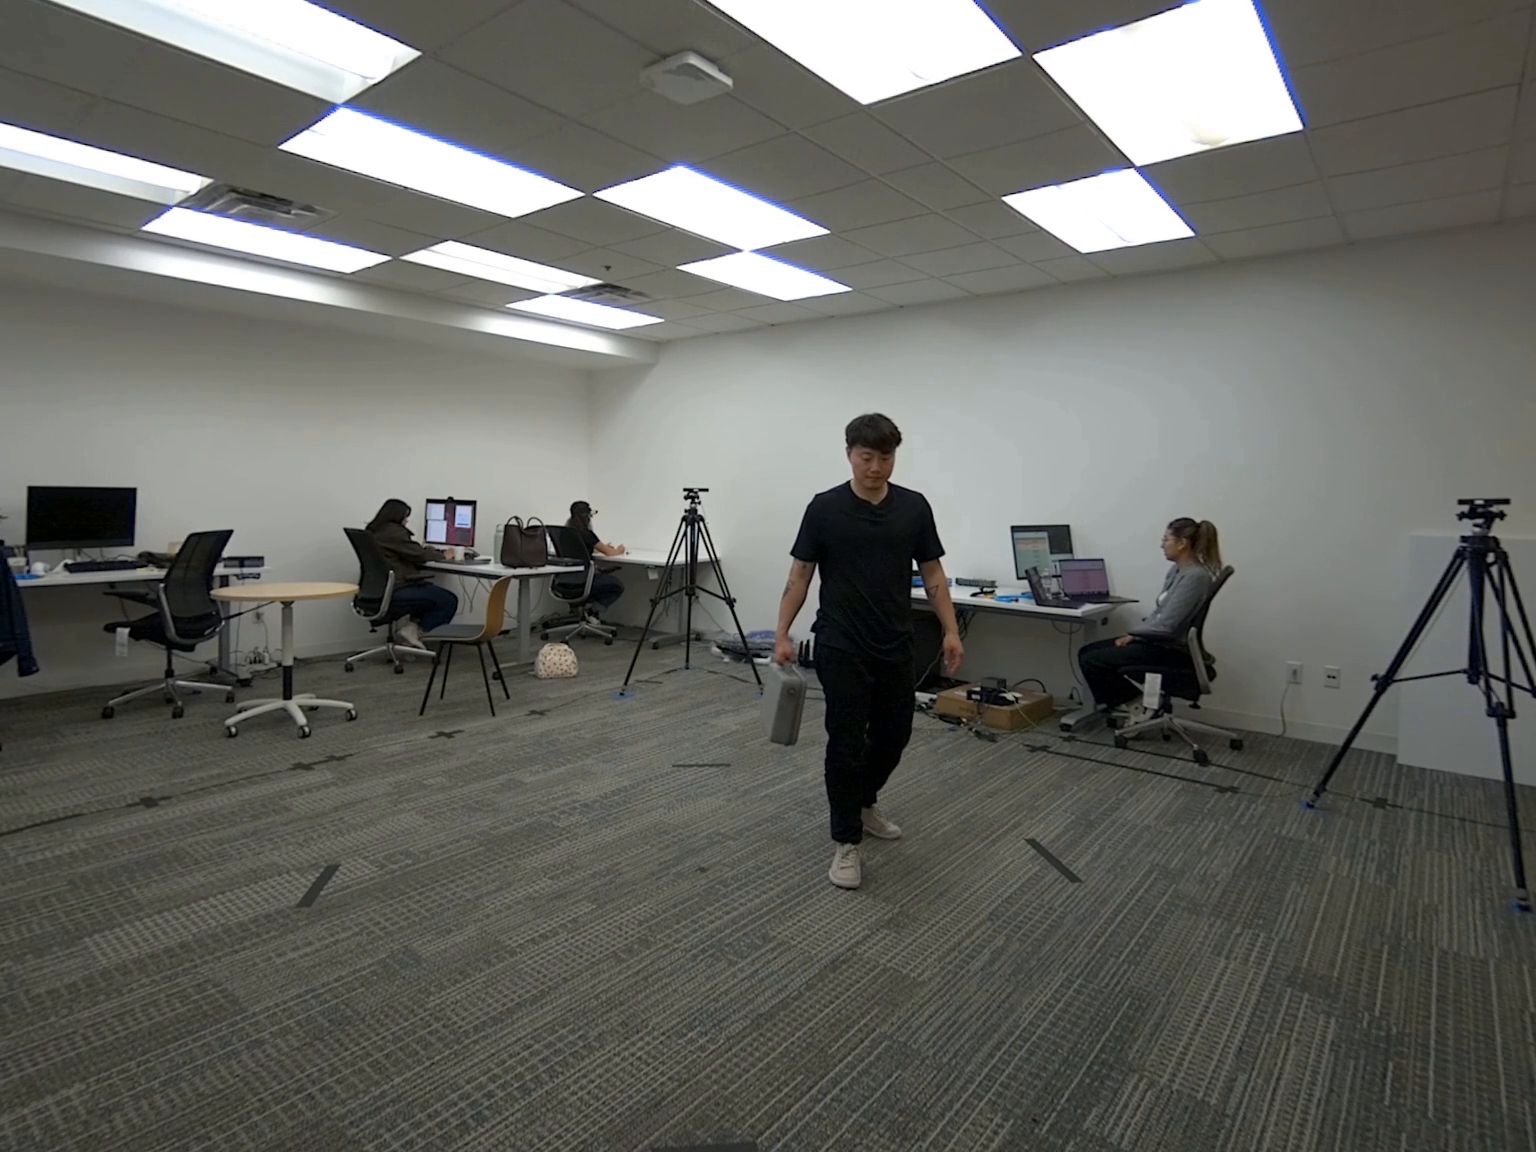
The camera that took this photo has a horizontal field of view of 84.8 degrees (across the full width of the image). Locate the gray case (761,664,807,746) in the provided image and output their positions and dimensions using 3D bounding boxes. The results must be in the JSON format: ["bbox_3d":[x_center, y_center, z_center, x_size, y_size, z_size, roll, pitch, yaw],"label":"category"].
[{"bbox_3d":[0.049,0.460,3.159,0.103,0.260,0.261,7,4,-12],"label":"gray case"}]
